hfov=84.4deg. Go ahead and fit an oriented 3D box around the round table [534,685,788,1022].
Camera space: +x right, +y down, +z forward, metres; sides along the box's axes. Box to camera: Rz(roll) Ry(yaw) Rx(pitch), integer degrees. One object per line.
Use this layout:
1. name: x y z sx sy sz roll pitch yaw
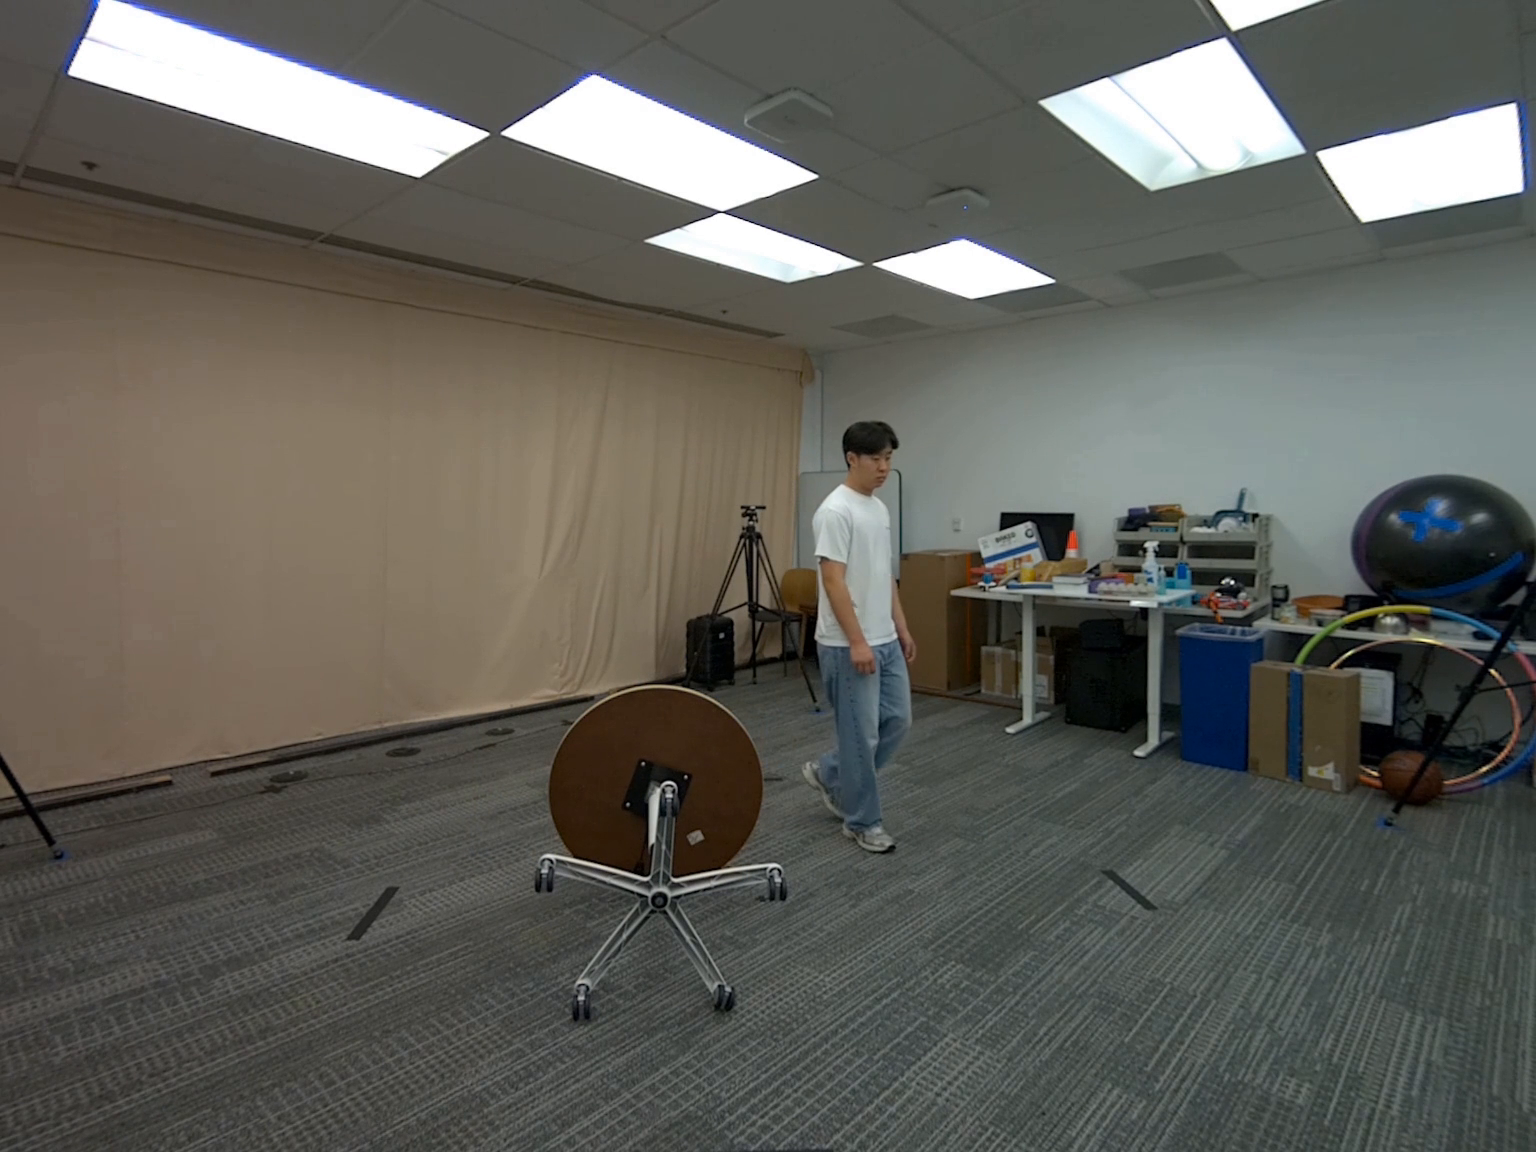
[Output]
1. round table: -0.337 0.830 2.632 0.780 0.781 0.796 0 9 -7
